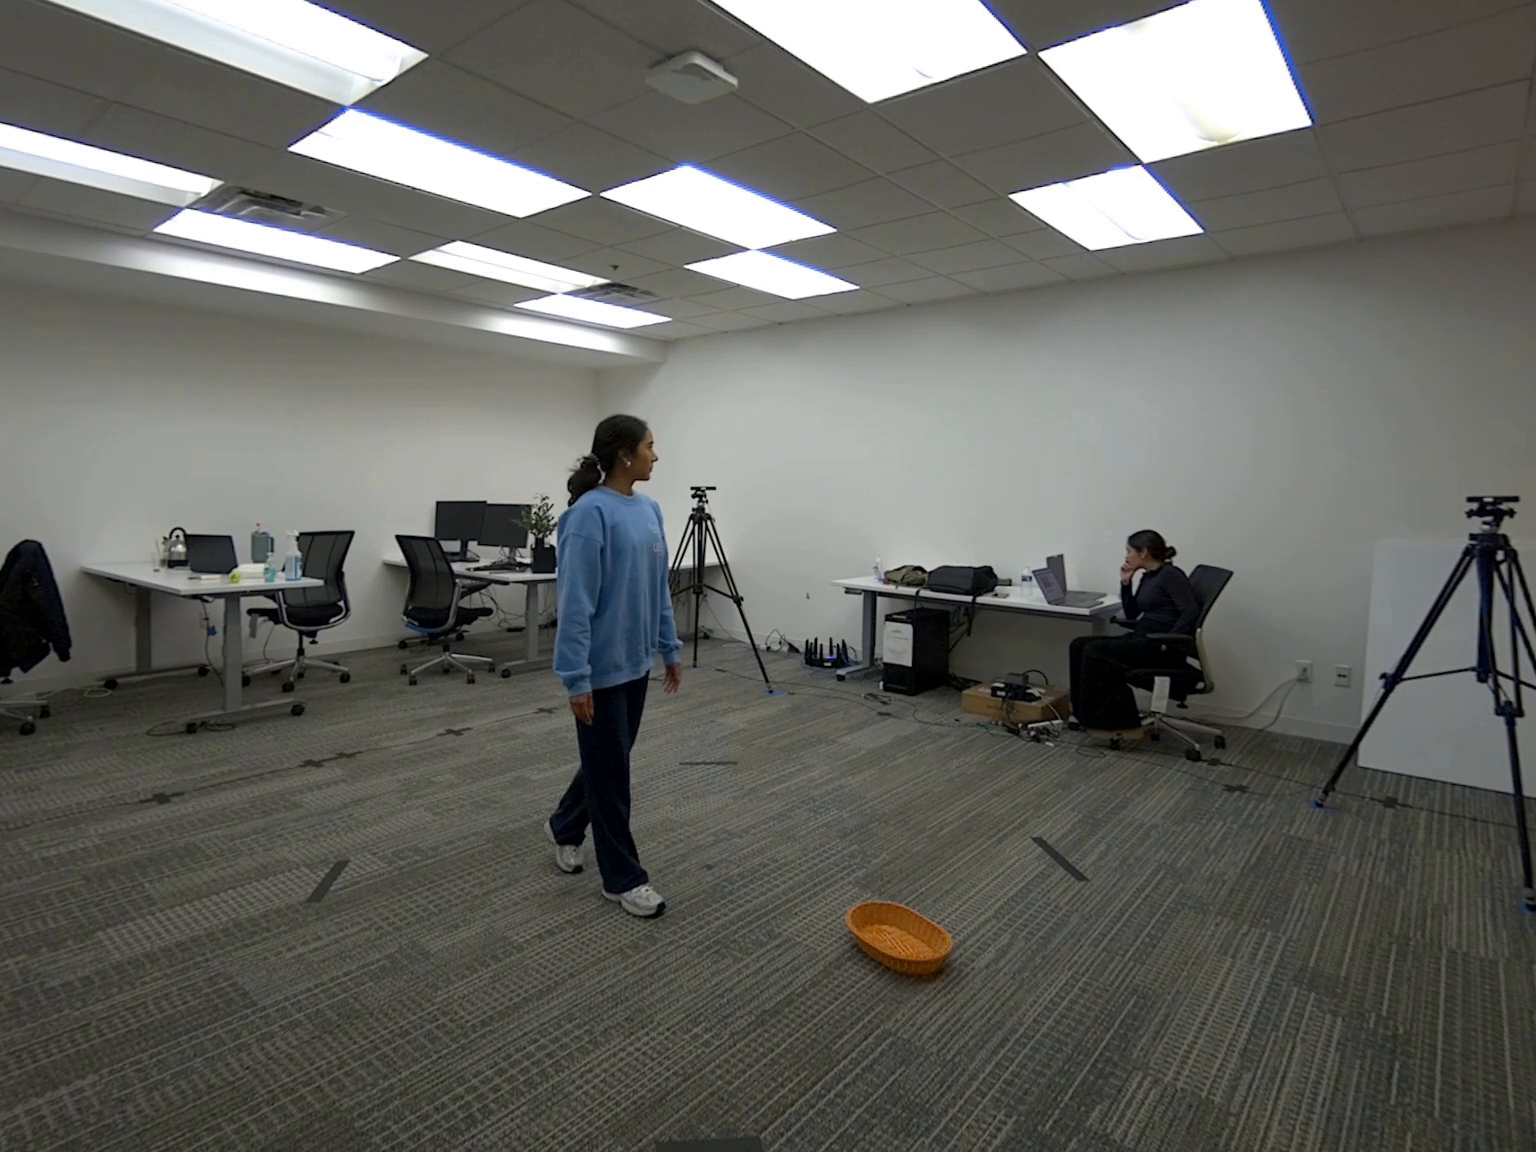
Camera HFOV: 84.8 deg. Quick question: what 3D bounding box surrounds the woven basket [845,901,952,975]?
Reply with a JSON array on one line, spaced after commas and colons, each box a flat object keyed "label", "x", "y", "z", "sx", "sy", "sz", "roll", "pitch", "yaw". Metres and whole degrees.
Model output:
[{"label": "woven basket", "x": 0.380, "y": 1.087, "z": 2.571, "sx": 0.246, "sy": 0.073, "sz": 0.361, "roll": -3, "pitch": 7, "yaw": -30}]
